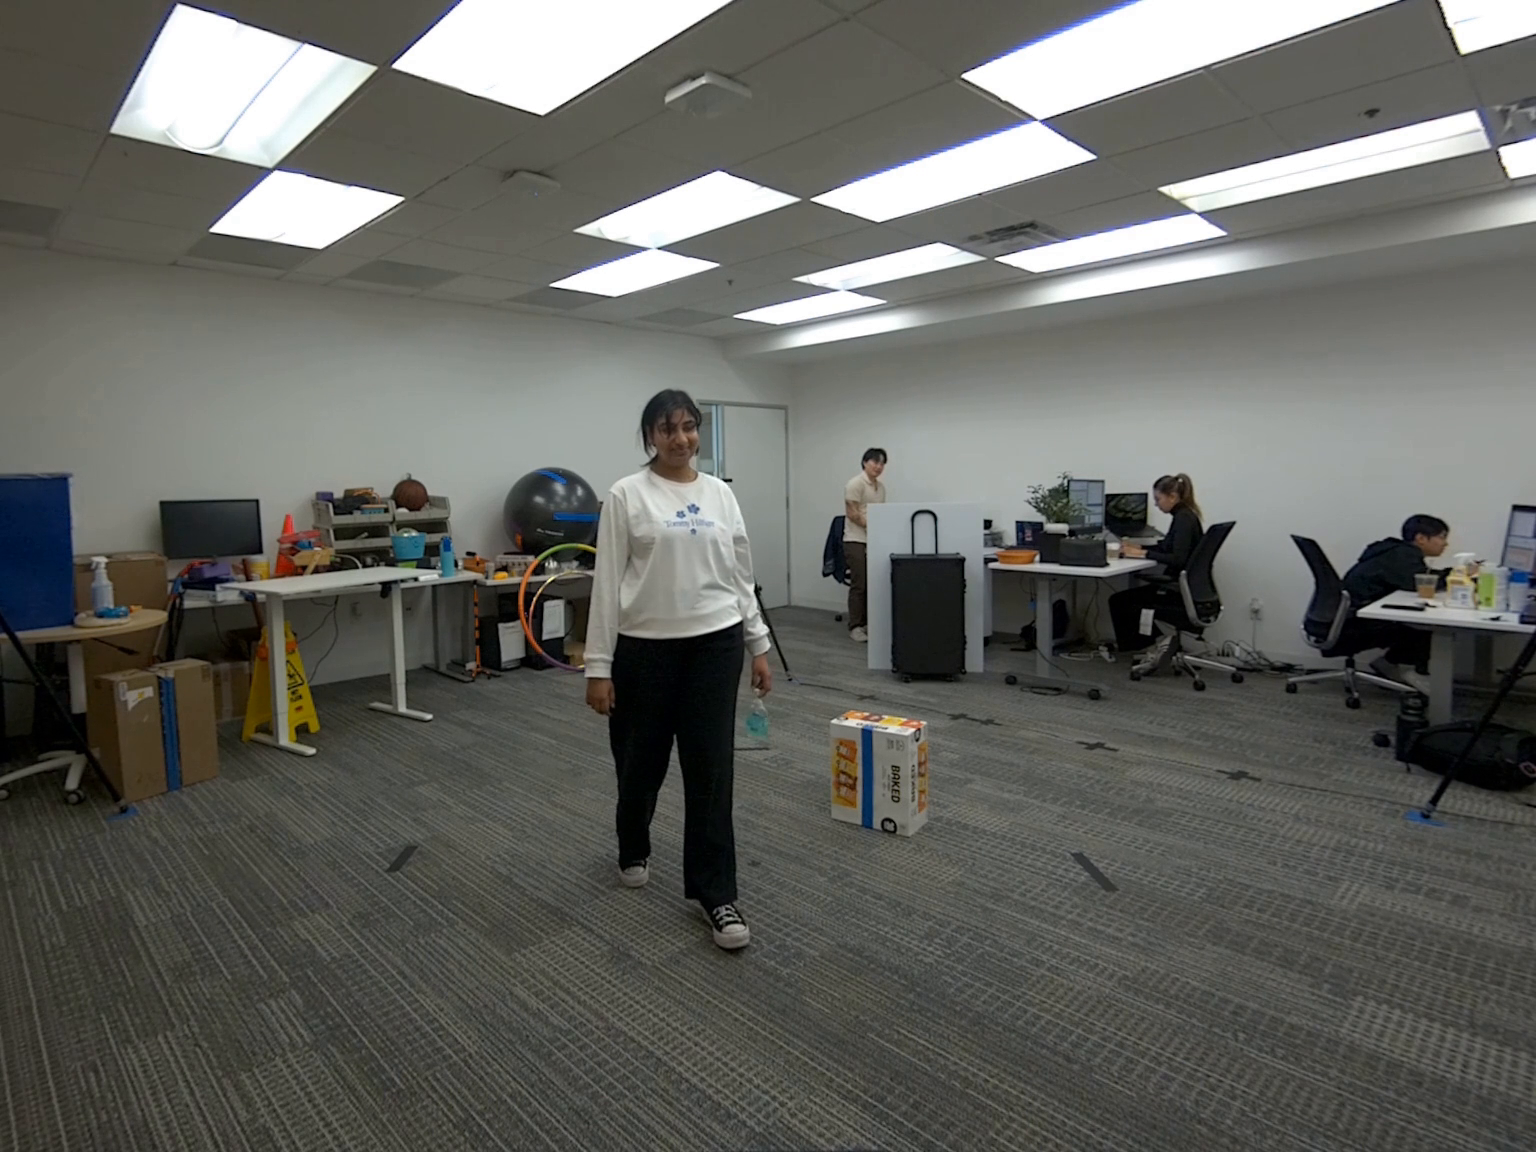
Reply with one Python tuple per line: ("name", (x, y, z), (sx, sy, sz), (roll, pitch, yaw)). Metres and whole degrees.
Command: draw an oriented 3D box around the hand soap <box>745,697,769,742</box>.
("hand soap", (-0.037, 0.463, 2.869), (0.085, 0.167, 0.043), (-1, 9, 10))
